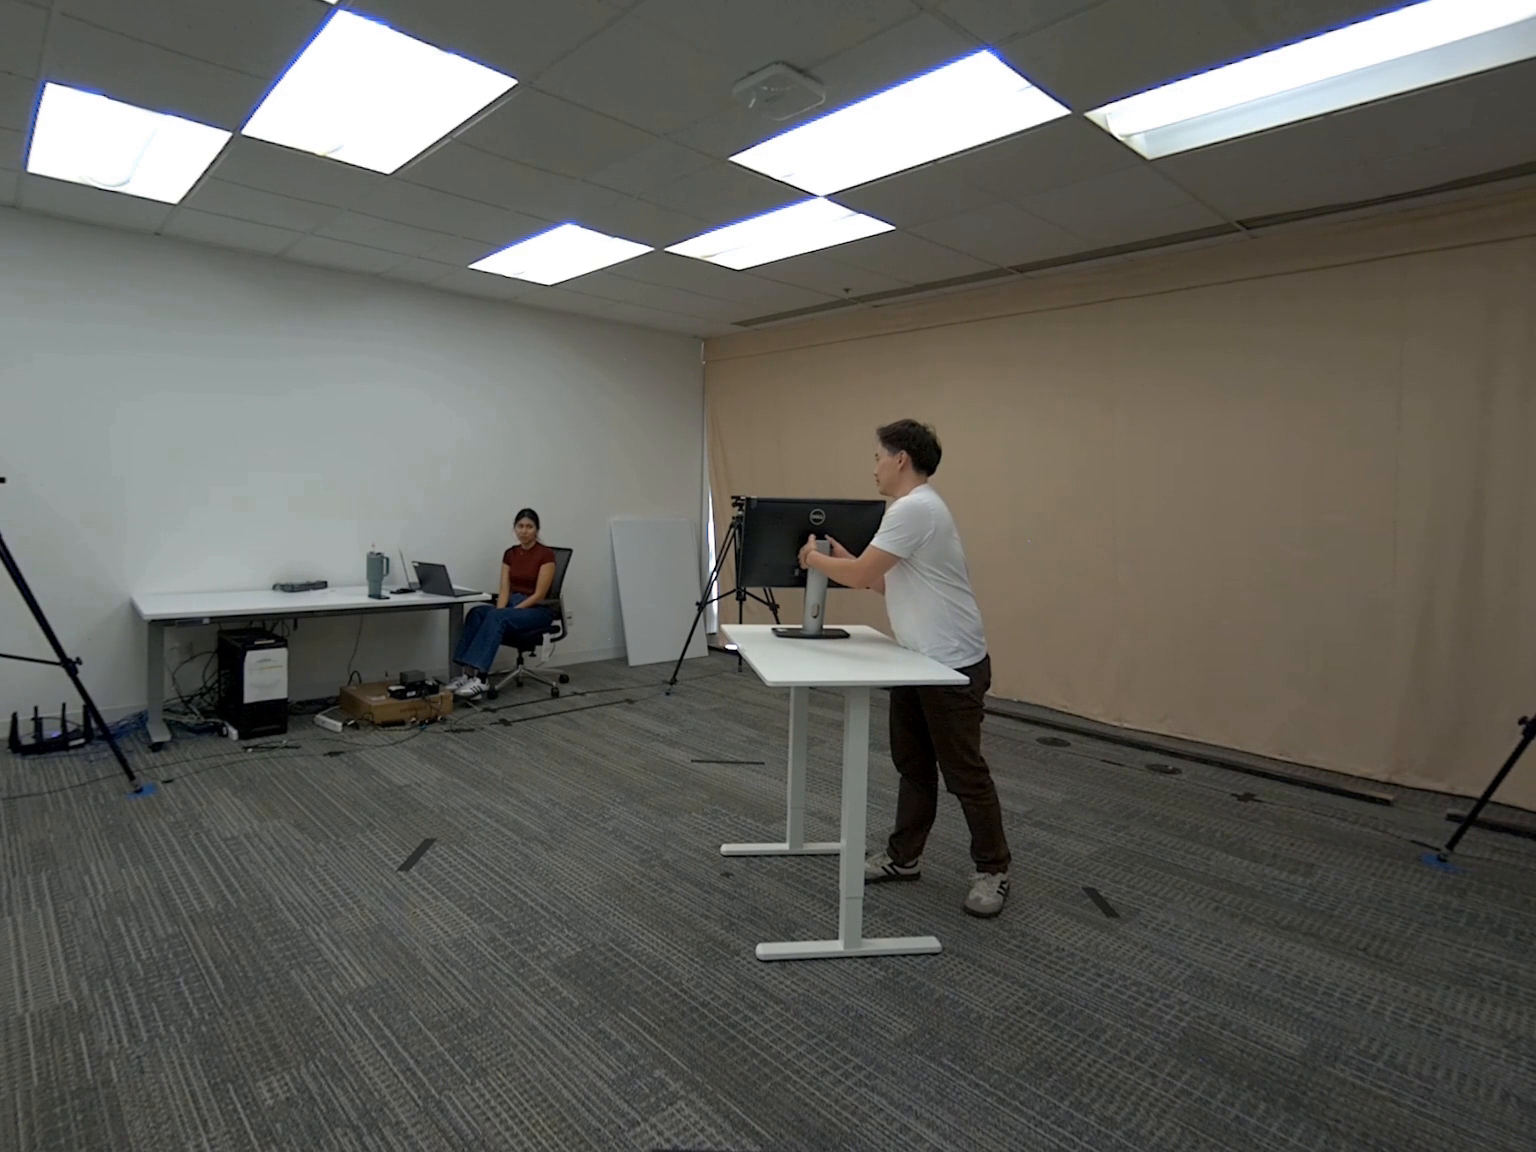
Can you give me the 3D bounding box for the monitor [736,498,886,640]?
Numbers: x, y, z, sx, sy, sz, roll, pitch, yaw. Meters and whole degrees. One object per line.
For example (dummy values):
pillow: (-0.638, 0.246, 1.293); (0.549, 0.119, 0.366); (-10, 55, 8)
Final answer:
monitor: (0.165, -0.029, 3.130); (0.535, 0.520, 0.189); (1, 7, -9)
